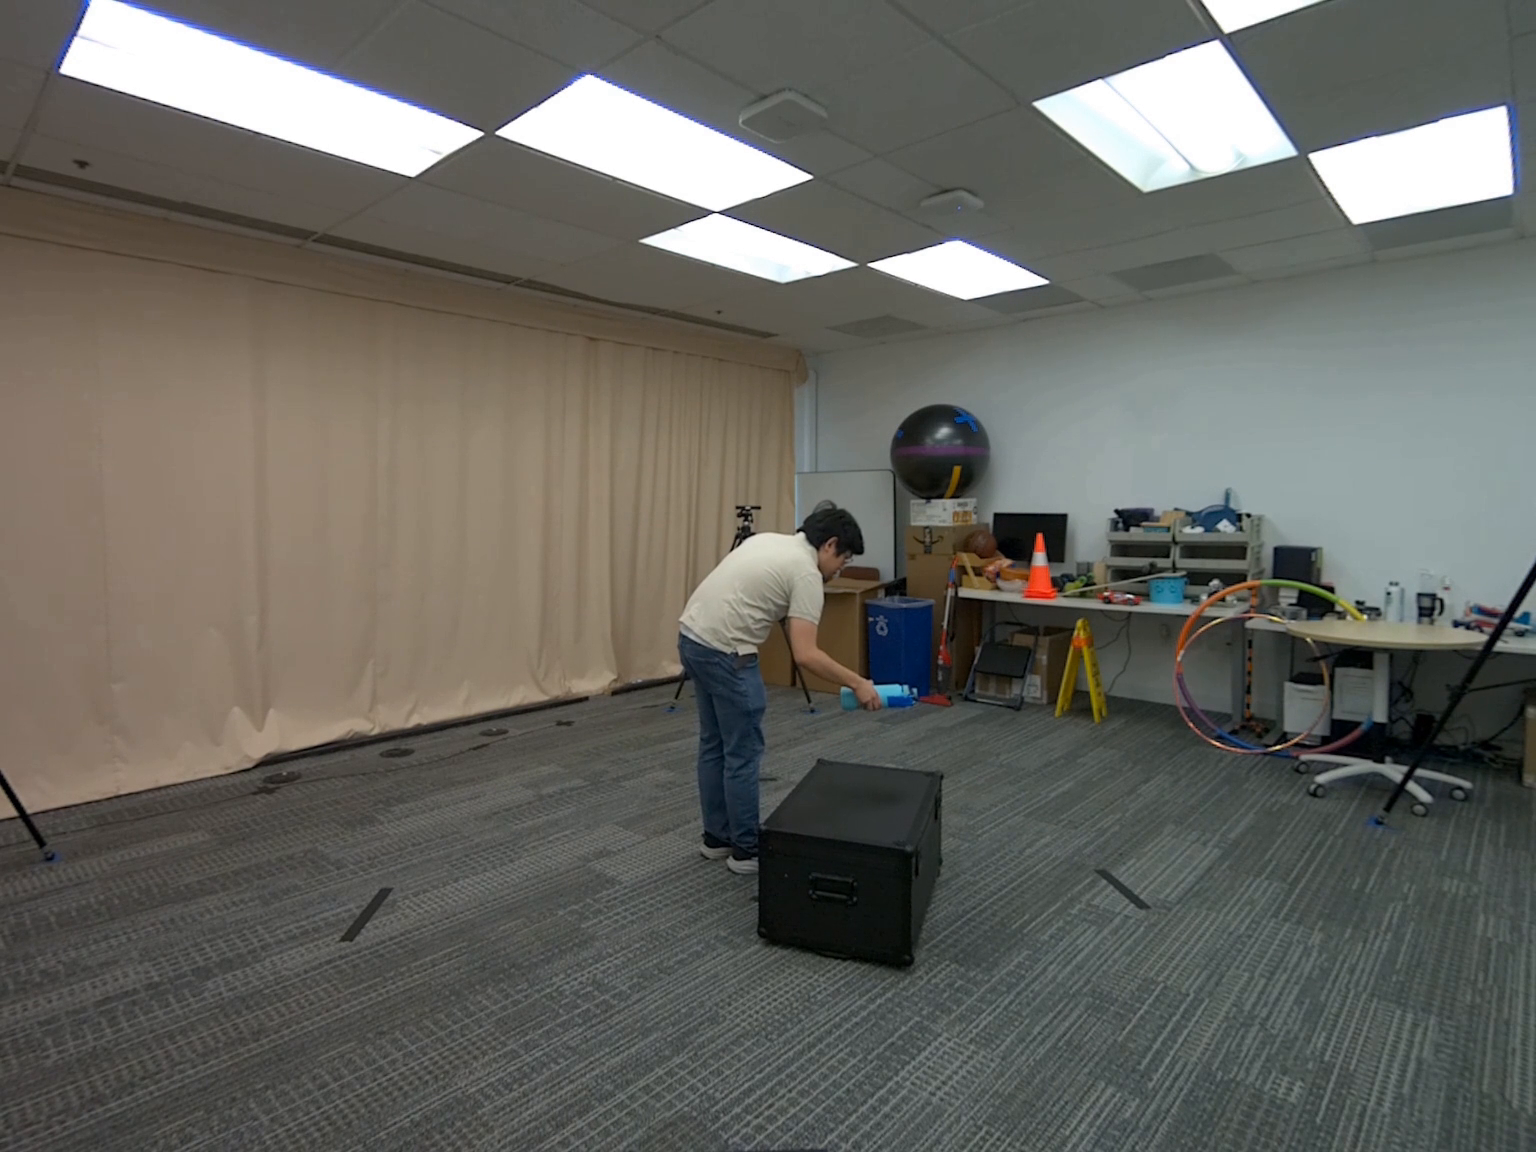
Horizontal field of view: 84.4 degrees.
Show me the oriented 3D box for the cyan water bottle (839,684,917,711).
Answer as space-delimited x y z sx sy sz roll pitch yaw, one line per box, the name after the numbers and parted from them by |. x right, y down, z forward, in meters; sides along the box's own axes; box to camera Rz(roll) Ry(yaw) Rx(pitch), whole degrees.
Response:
0.432 0.463 3.193 0.287 0.092 0.091 -5 3 13 | cyan water bottle
